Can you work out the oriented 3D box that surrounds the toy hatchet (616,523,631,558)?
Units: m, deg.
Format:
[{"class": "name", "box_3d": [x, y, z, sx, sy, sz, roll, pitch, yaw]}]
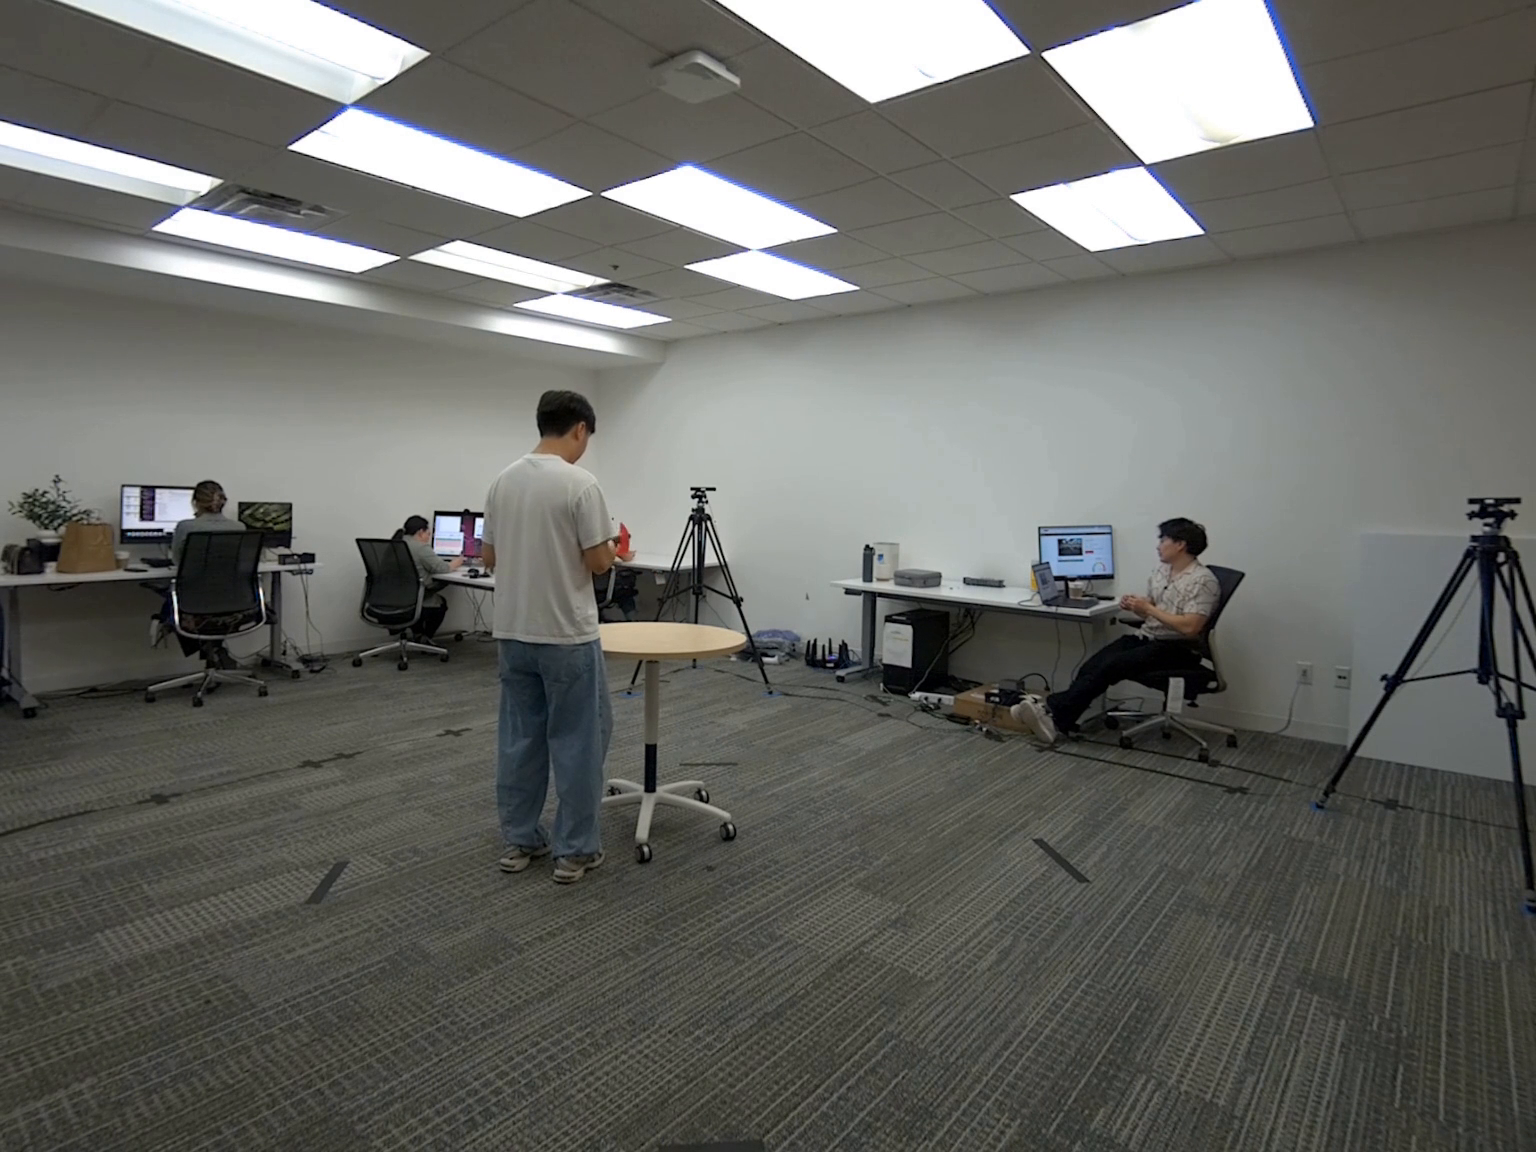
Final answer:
[{"class": "toy hatchet", "box_3d": [-0.654, -0.054, 3.309, 0.031, 0.126, 0.269, 20, 55, 42]}]
